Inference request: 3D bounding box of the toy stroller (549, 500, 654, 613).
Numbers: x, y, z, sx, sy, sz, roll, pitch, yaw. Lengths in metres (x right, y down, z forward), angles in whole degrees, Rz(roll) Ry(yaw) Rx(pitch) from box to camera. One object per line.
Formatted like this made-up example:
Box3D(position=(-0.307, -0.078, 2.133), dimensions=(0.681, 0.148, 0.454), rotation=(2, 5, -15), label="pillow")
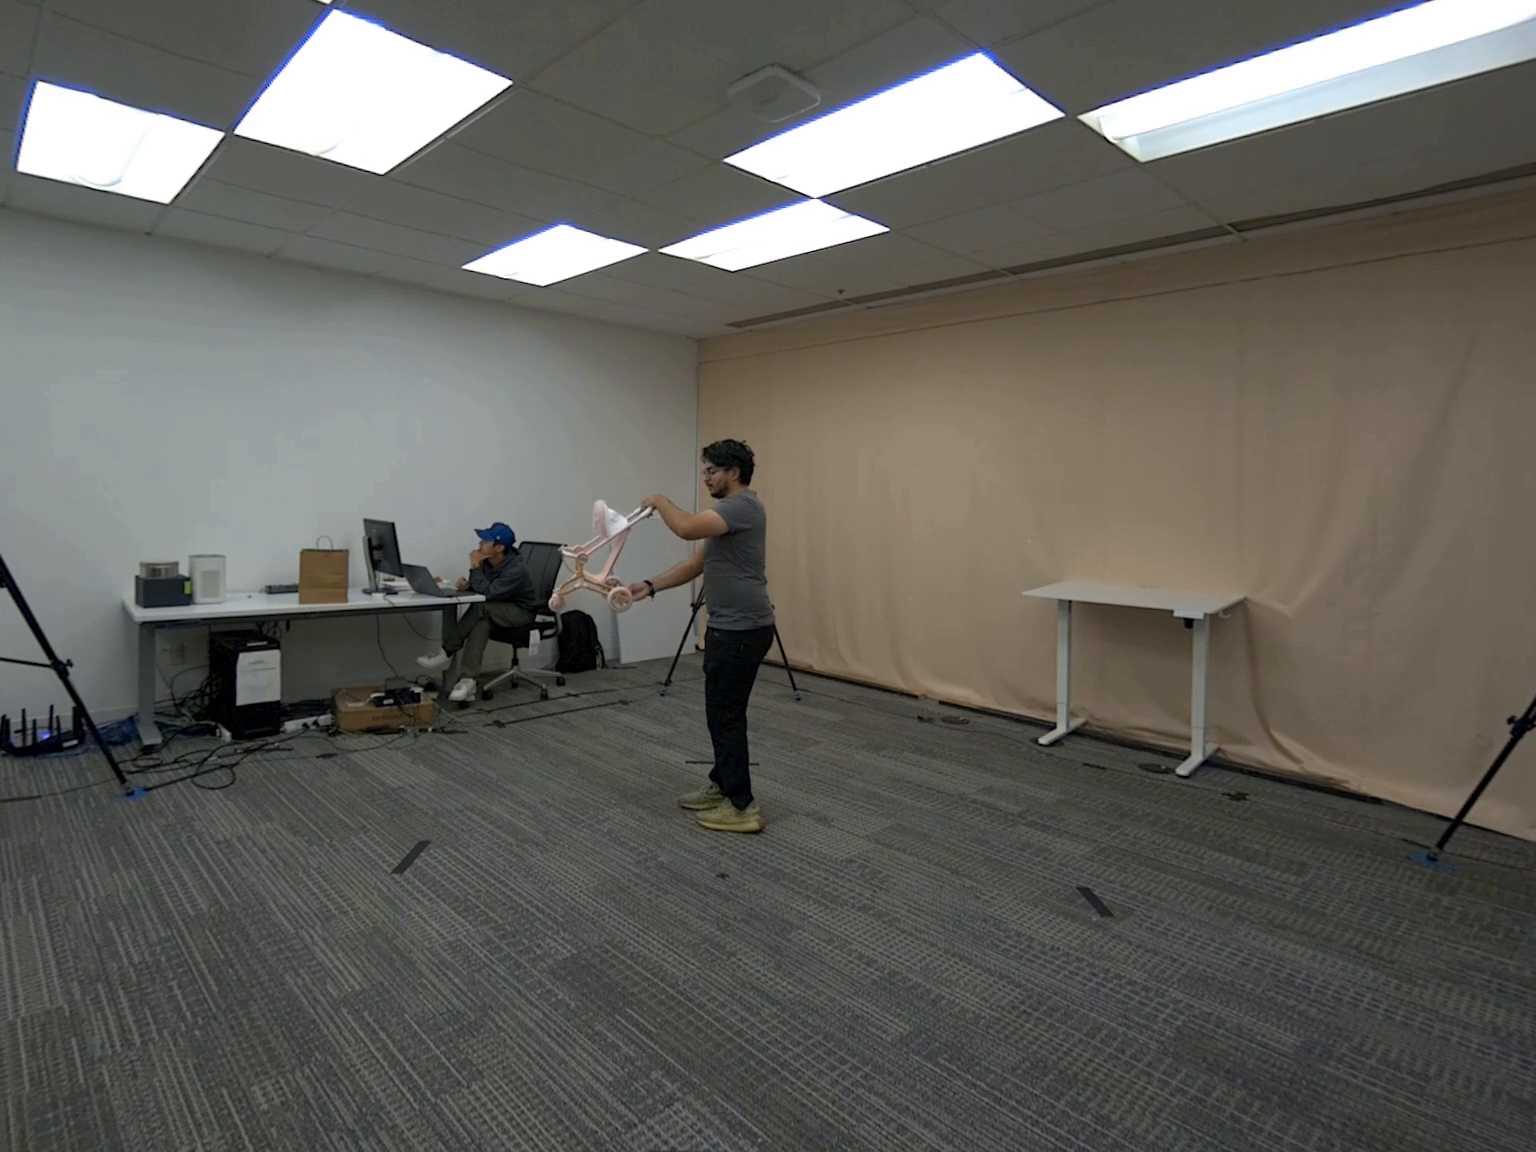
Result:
Box3D(position=(-0.731, -0.081, 3.604), dimensions=(0.337, 0.533, 0.286), rotation=(13, 5, -14), label="toy stroller")
